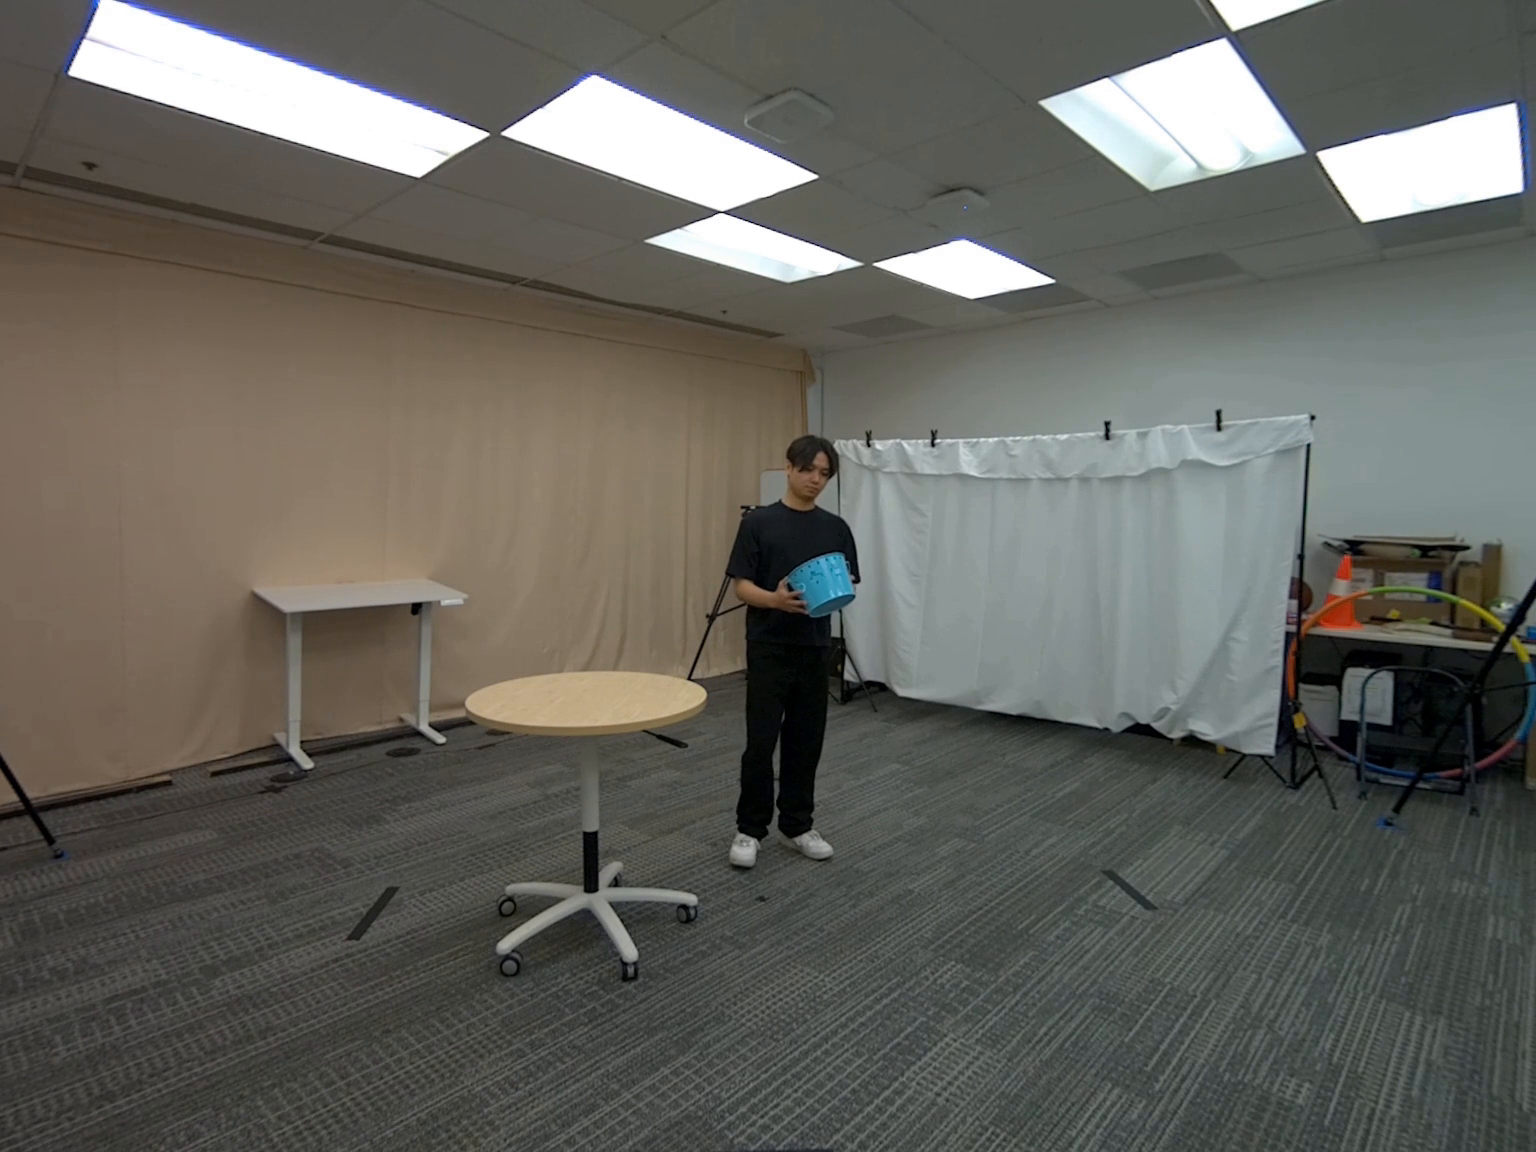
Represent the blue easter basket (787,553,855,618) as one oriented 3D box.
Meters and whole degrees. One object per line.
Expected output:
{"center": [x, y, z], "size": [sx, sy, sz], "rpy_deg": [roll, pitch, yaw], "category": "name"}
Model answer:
{"center": [0.192, 0.039, 3.049], "size": [0.242, 0.159, 0.241], "rpy_deg": [-18, -19, -9], "category": "blue easter basket"}
